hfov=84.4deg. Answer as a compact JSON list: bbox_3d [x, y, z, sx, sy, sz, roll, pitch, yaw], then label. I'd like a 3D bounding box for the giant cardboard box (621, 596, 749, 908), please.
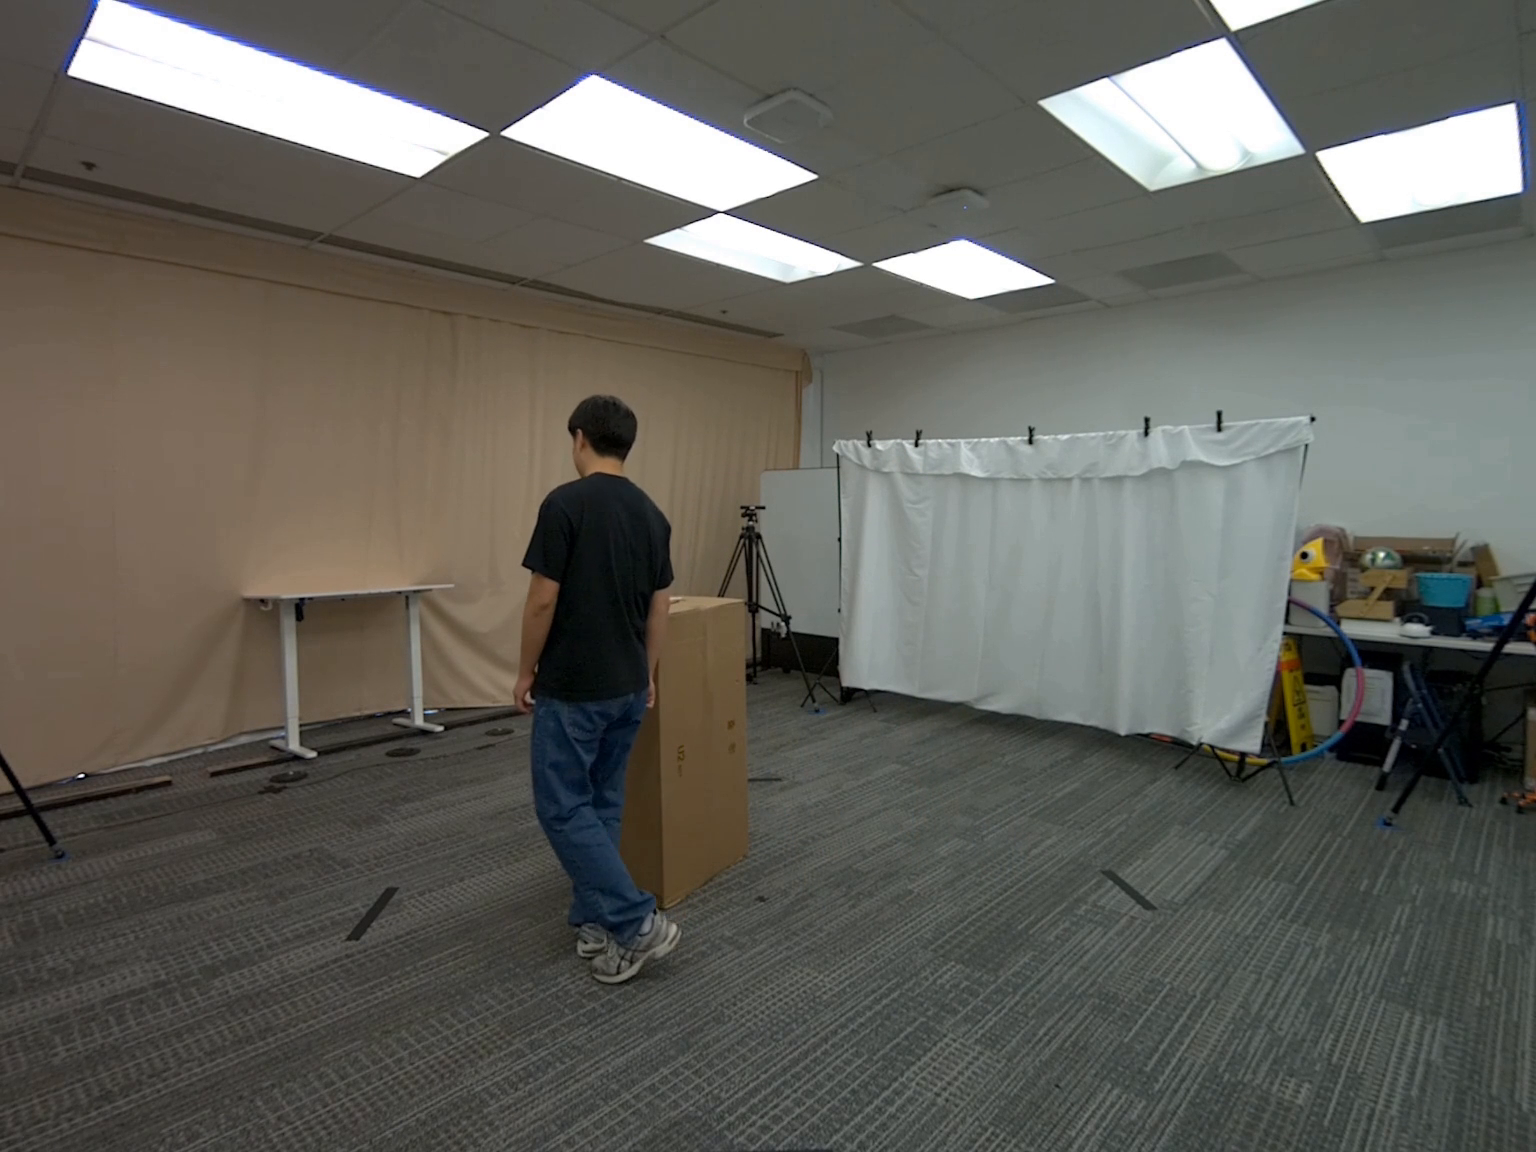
[{"bbox_3d":[-0.405,0.615,3.231,0.460,1.025,0.568,0,3,33],"label":"giant cardboard box"}]
